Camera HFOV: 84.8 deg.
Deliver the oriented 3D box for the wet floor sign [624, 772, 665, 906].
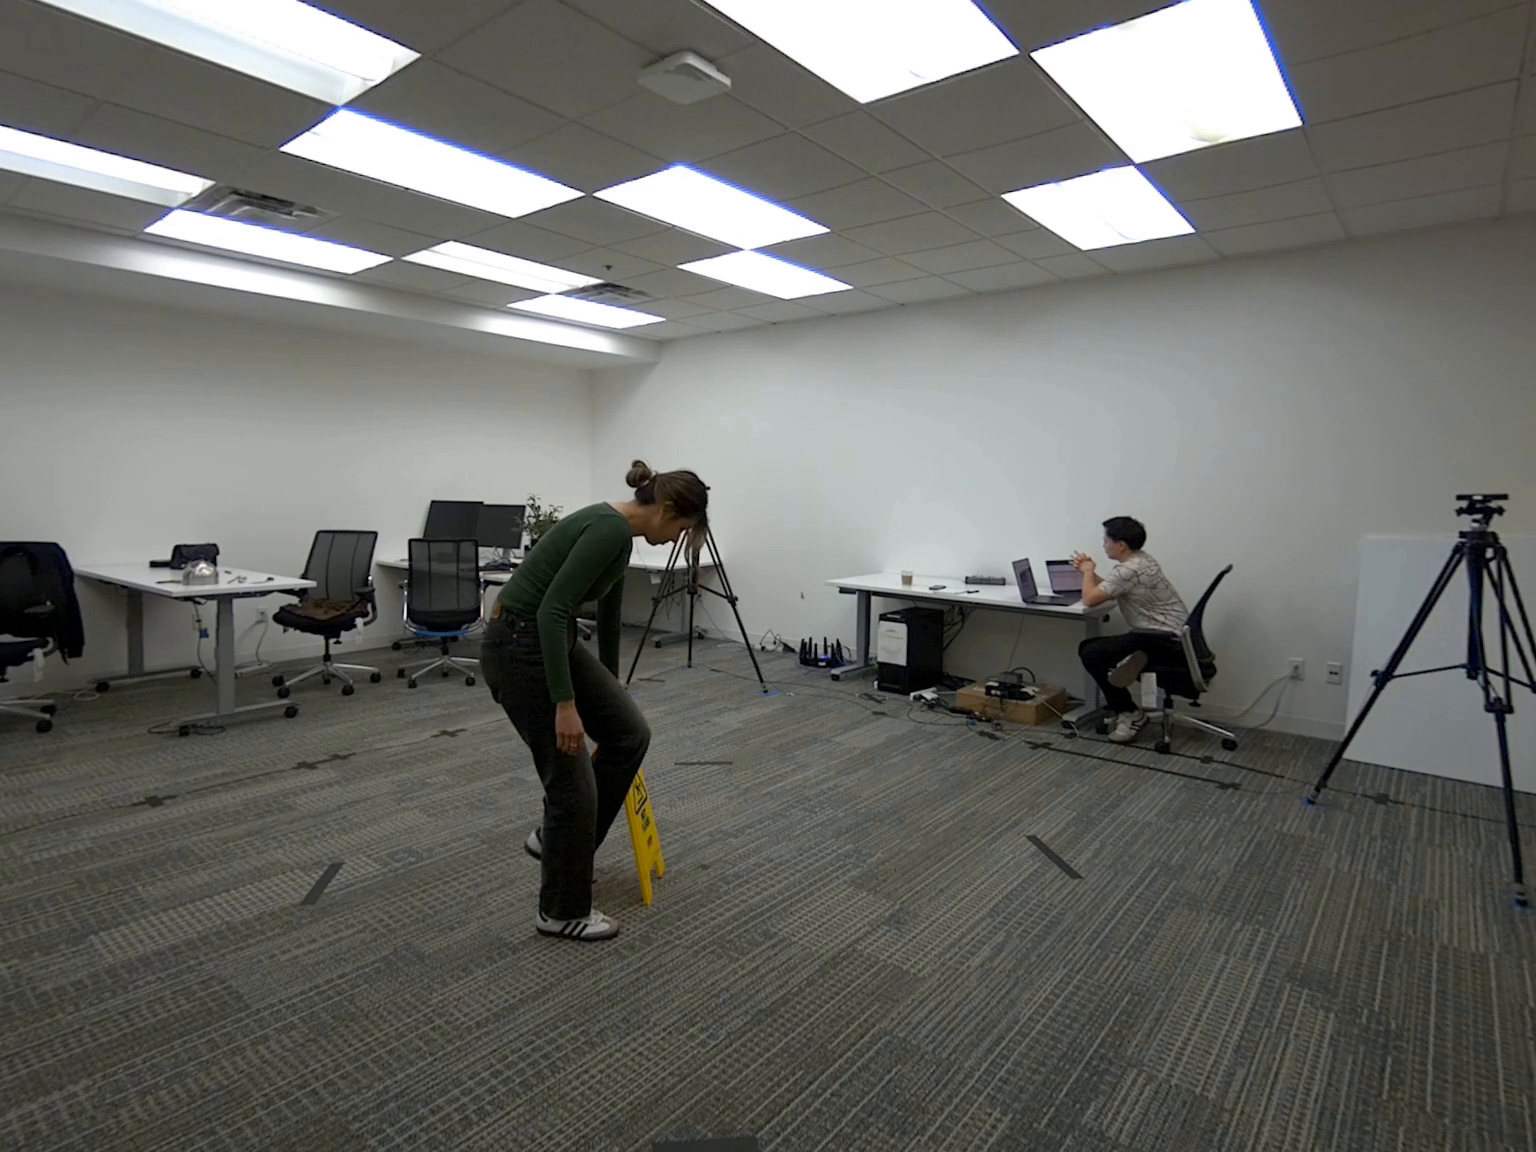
[{"bbox_3d":[-0.534,0.753,2.951,0.292,0.643,0.282,2,5,5],"label":"wet floor sign"}]
